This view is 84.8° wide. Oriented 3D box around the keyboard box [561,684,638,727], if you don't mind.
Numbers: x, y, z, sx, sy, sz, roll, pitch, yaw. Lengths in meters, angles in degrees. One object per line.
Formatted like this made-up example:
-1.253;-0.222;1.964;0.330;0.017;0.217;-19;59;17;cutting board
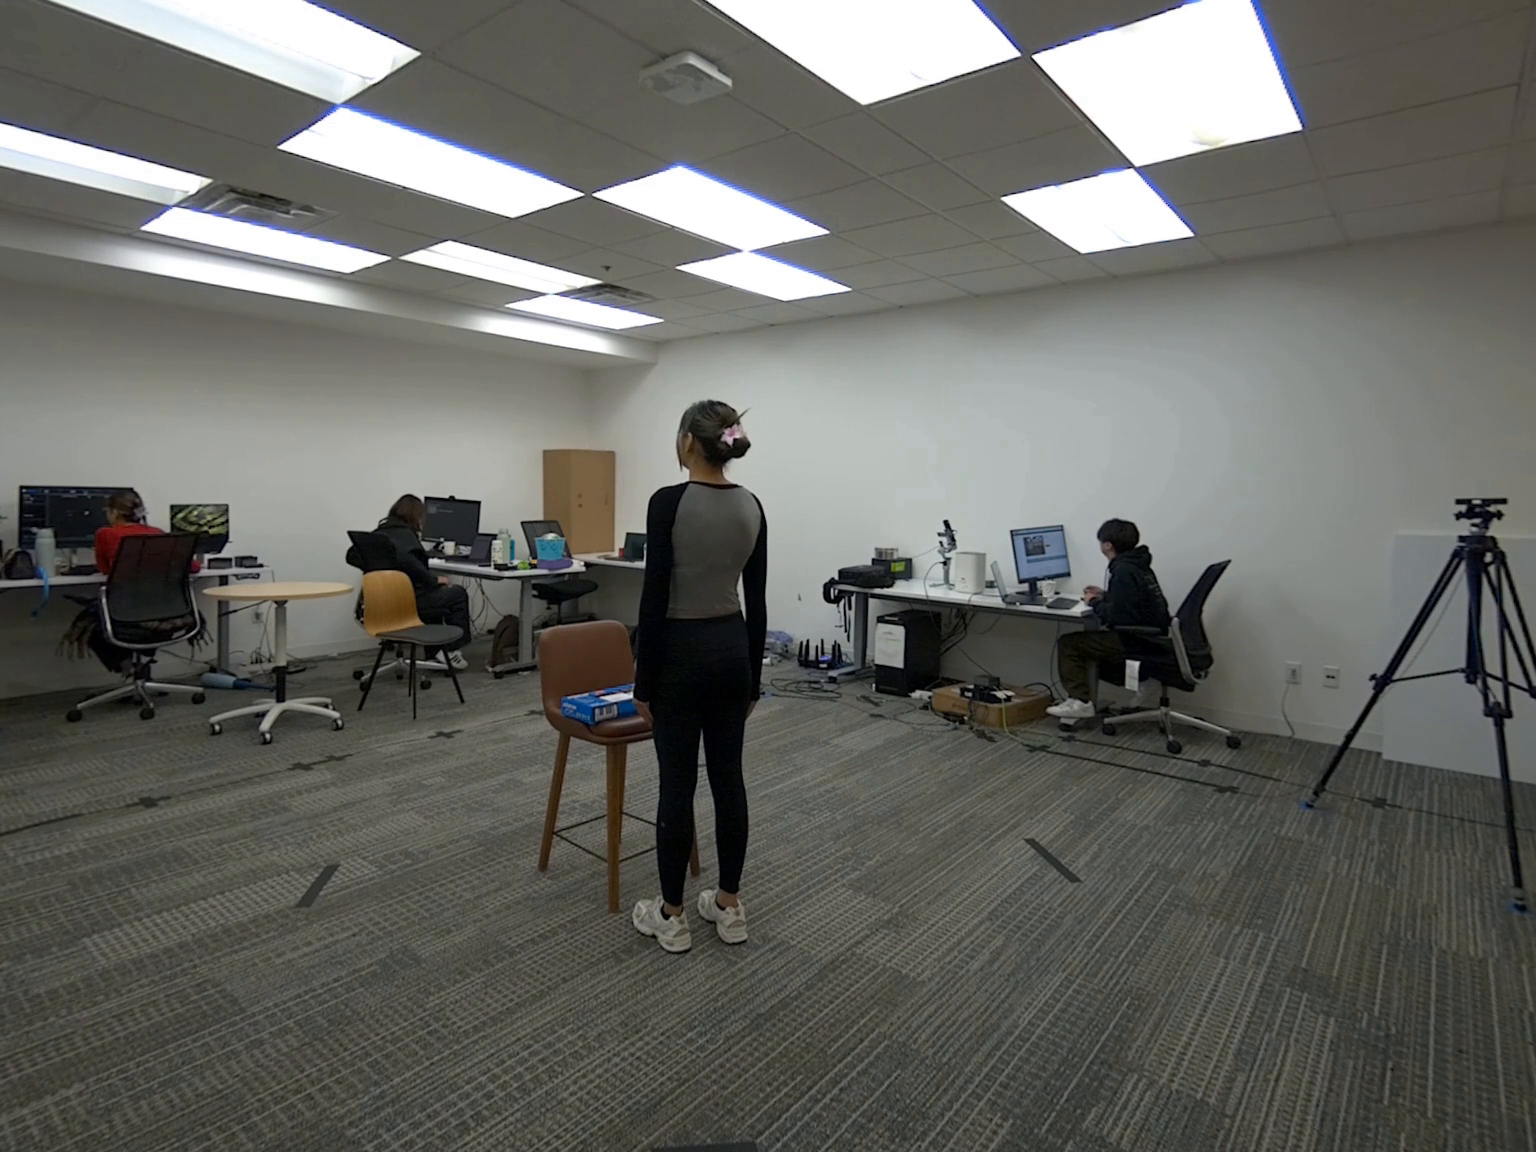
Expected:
-0.500;0.432;2.978;0.182;0.059;0.424;6;8;43;keyboard box
